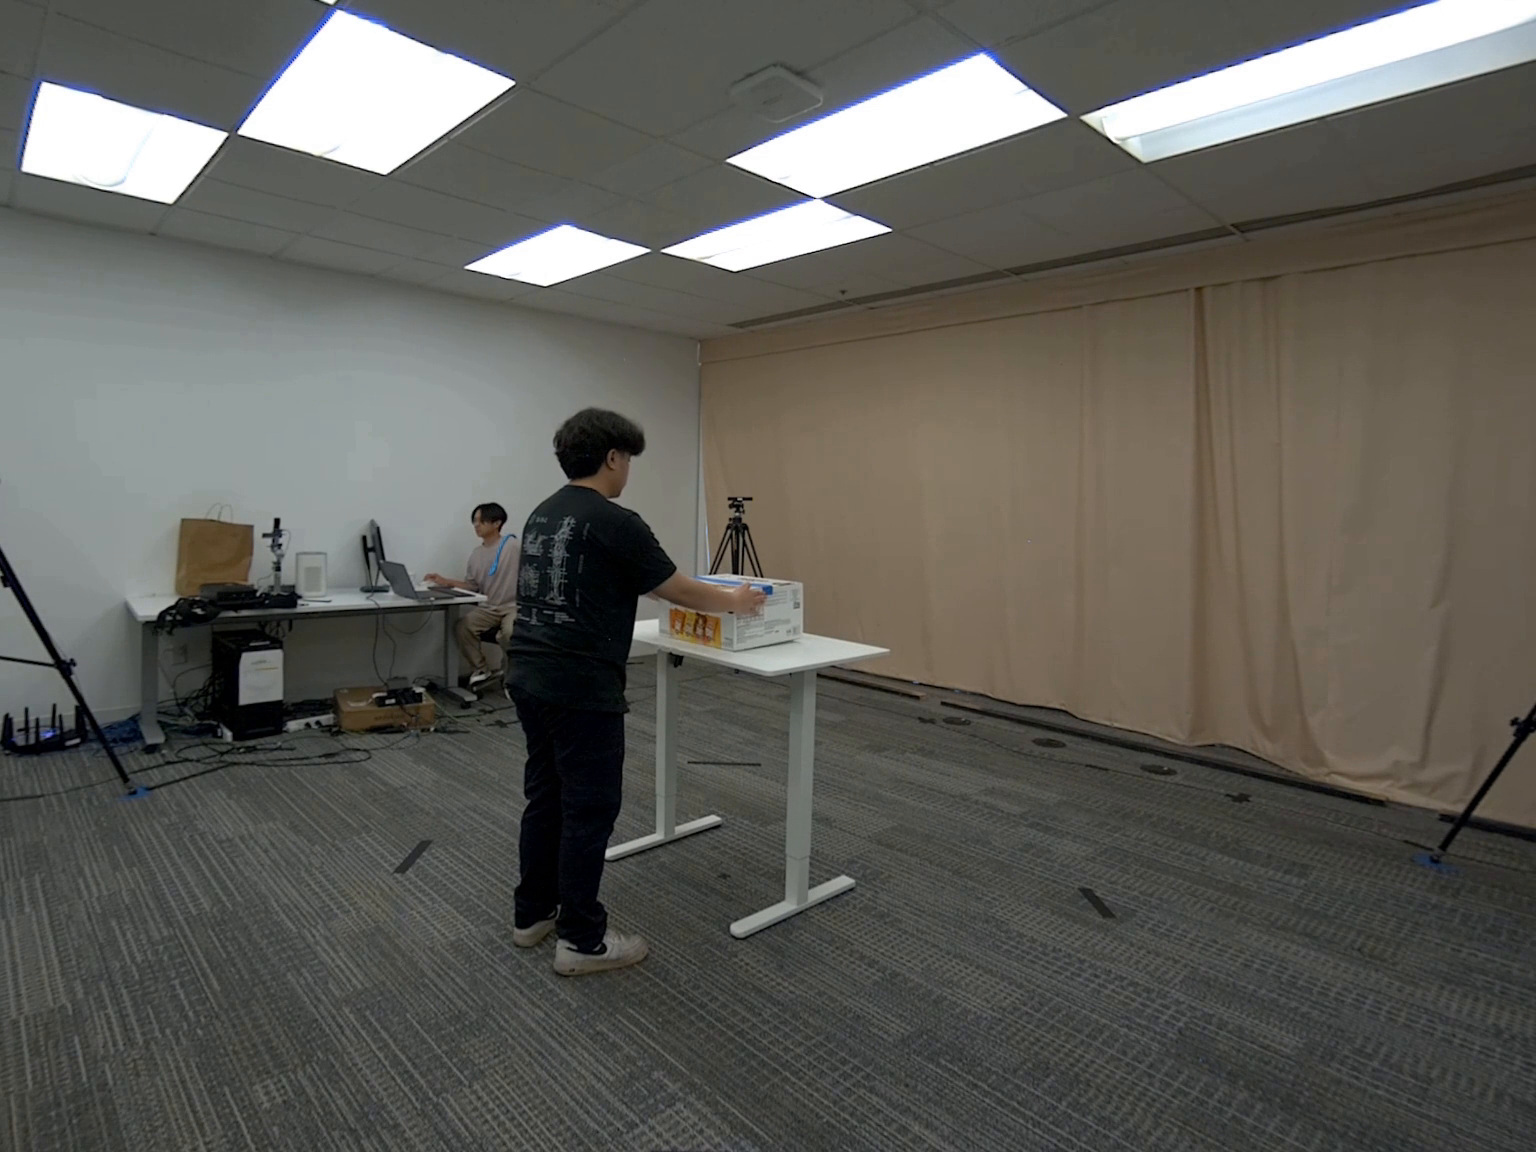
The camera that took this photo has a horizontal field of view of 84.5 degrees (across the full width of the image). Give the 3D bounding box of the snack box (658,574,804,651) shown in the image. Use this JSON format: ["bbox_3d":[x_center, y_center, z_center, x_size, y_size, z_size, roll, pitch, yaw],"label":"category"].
[{"bbox_3d":[-0.142,0.123,3.049,0.333,0.205,0.416,-6,9,-44],"label":"snack box"}]
